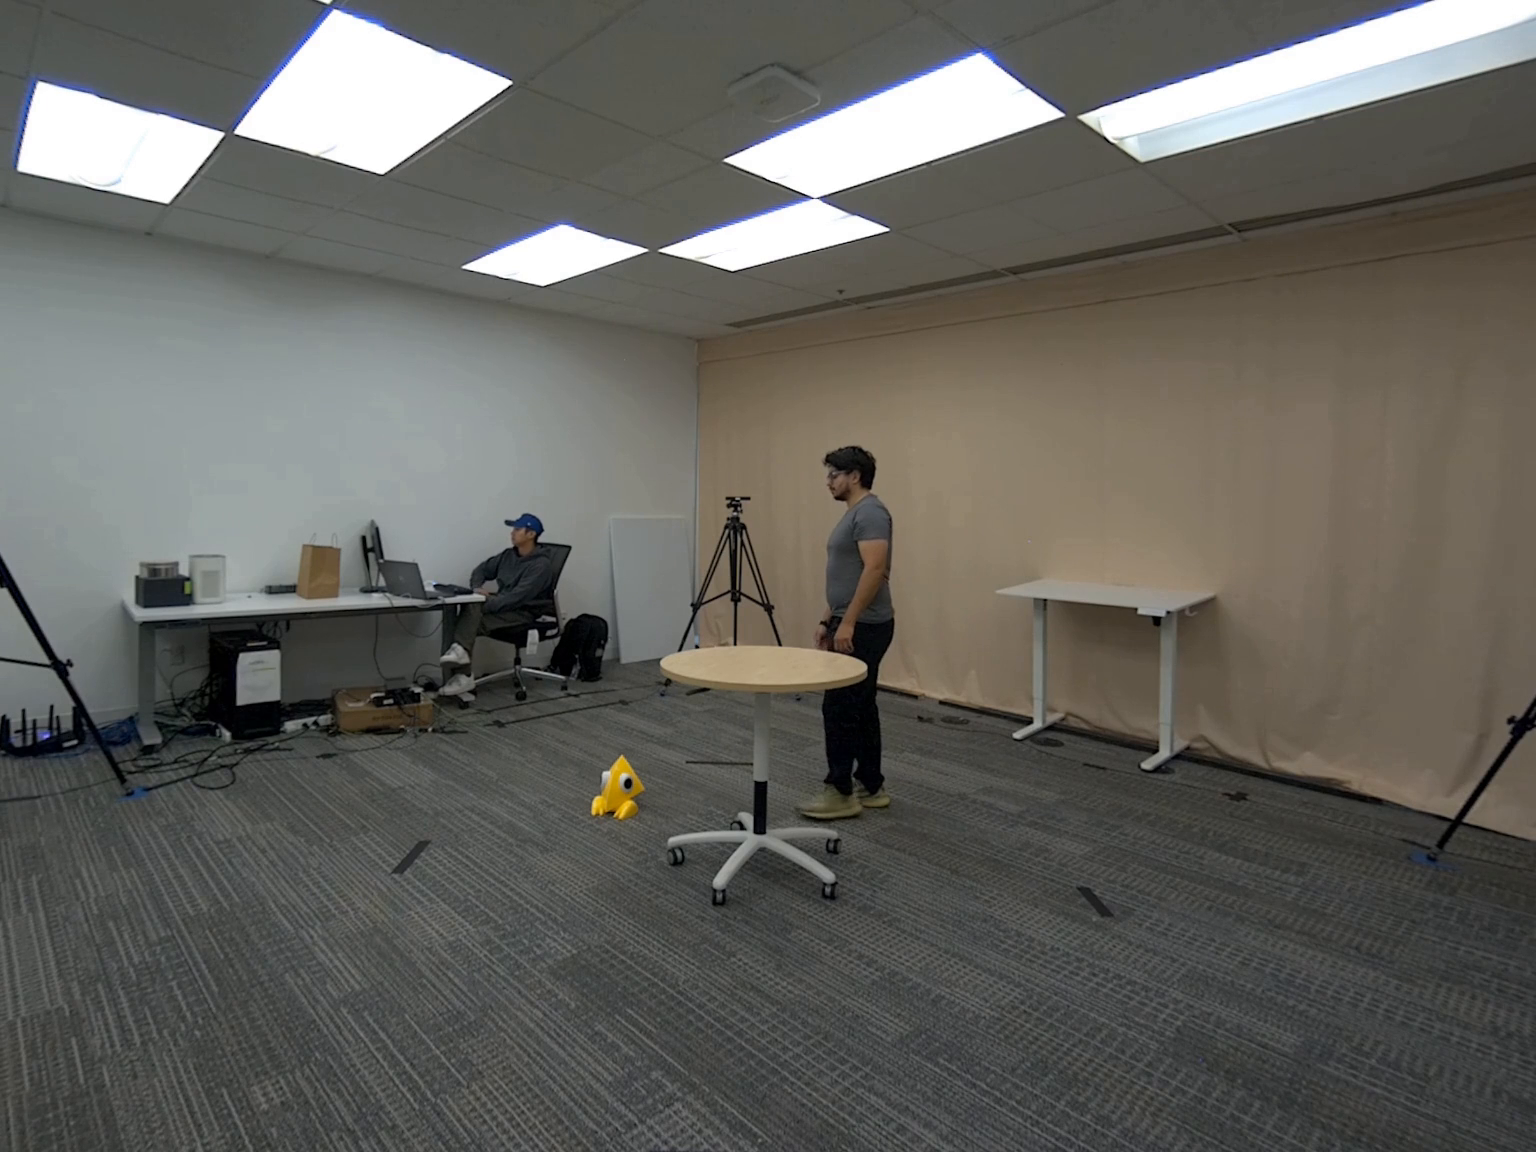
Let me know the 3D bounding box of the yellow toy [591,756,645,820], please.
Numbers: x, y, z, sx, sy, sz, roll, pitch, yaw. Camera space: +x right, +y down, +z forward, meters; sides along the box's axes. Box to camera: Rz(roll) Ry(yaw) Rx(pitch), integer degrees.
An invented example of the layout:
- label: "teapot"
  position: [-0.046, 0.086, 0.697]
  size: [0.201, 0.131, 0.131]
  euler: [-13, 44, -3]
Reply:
- label: "yellow toy"
  position: [-0.685, 0.927, 3.729]
  size: [0.207, 0.230, 0.191]
  euler: [3, 2, 16]
